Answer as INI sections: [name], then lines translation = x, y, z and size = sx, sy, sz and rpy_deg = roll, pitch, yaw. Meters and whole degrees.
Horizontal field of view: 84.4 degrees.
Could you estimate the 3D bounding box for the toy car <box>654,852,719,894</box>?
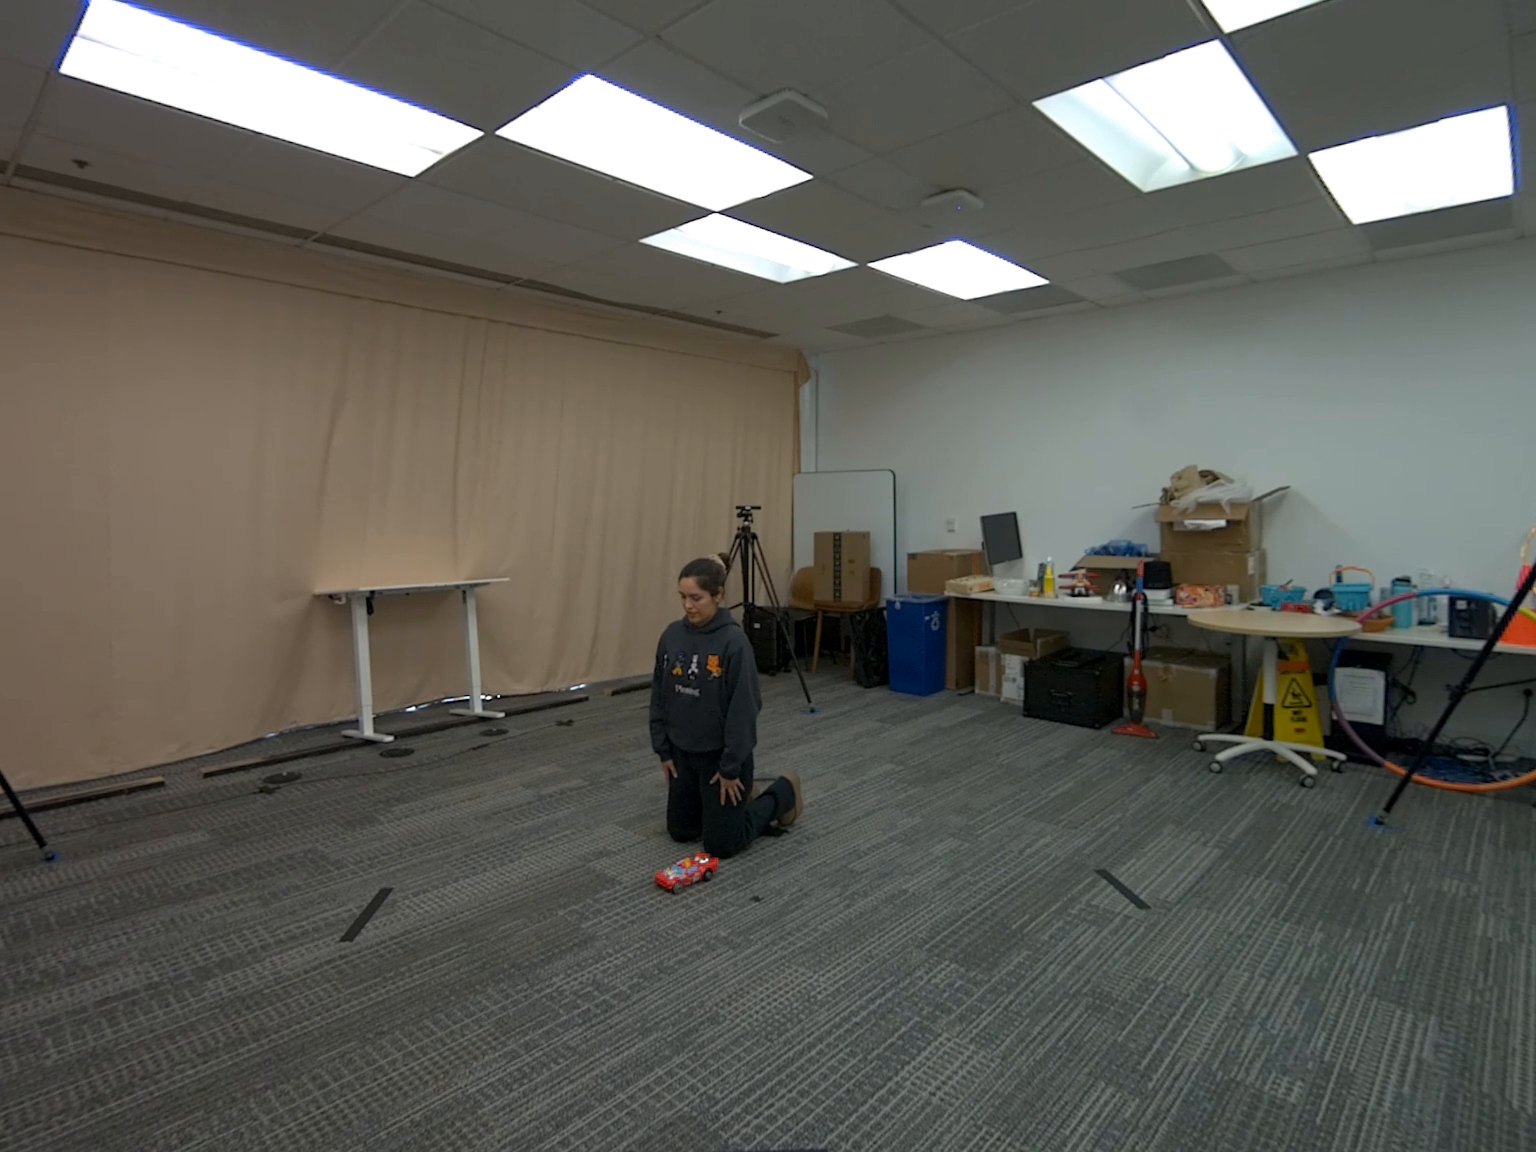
[toy car]
translation = -0.284, 1.100, 3.134
size = 0.248, 0.082, 0.134
rpy_deg = -20, 16, -40
